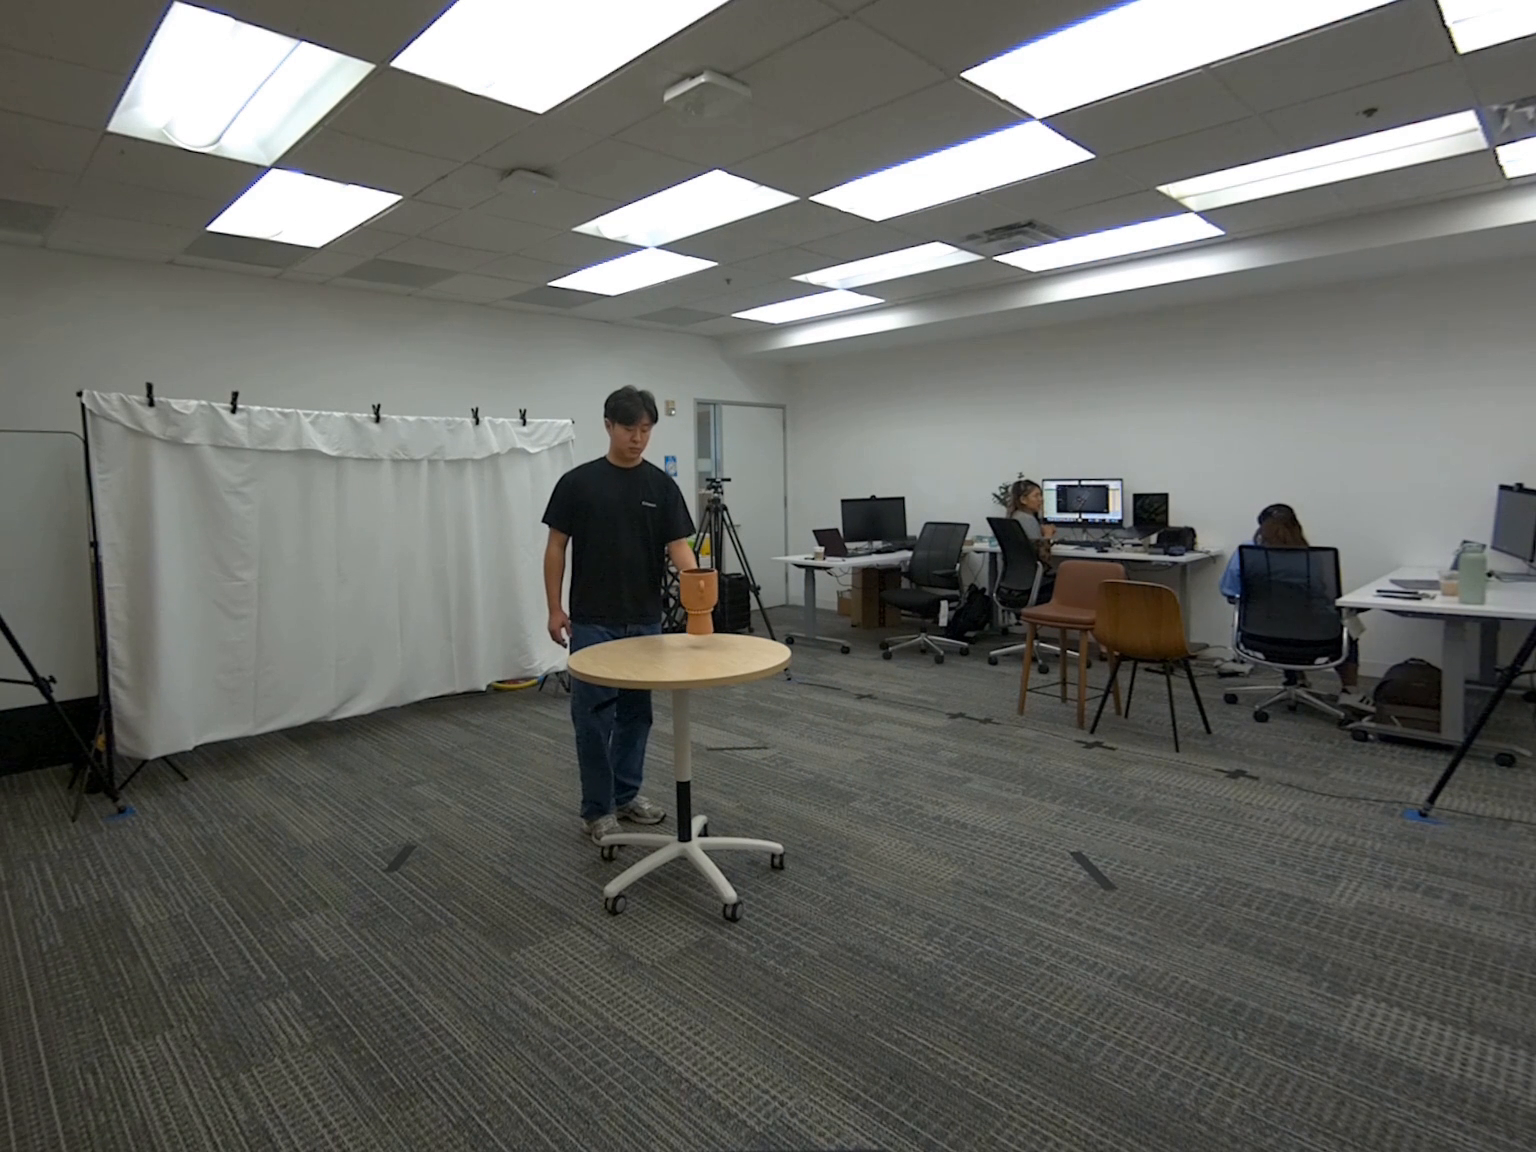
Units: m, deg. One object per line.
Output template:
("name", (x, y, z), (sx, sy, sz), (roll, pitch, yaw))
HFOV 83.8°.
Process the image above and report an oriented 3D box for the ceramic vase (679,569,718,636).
("ceramic vase", (-0.235, 0.087, 3.030), (0.138, 0.218, 0.156), (1, 7, 26))
